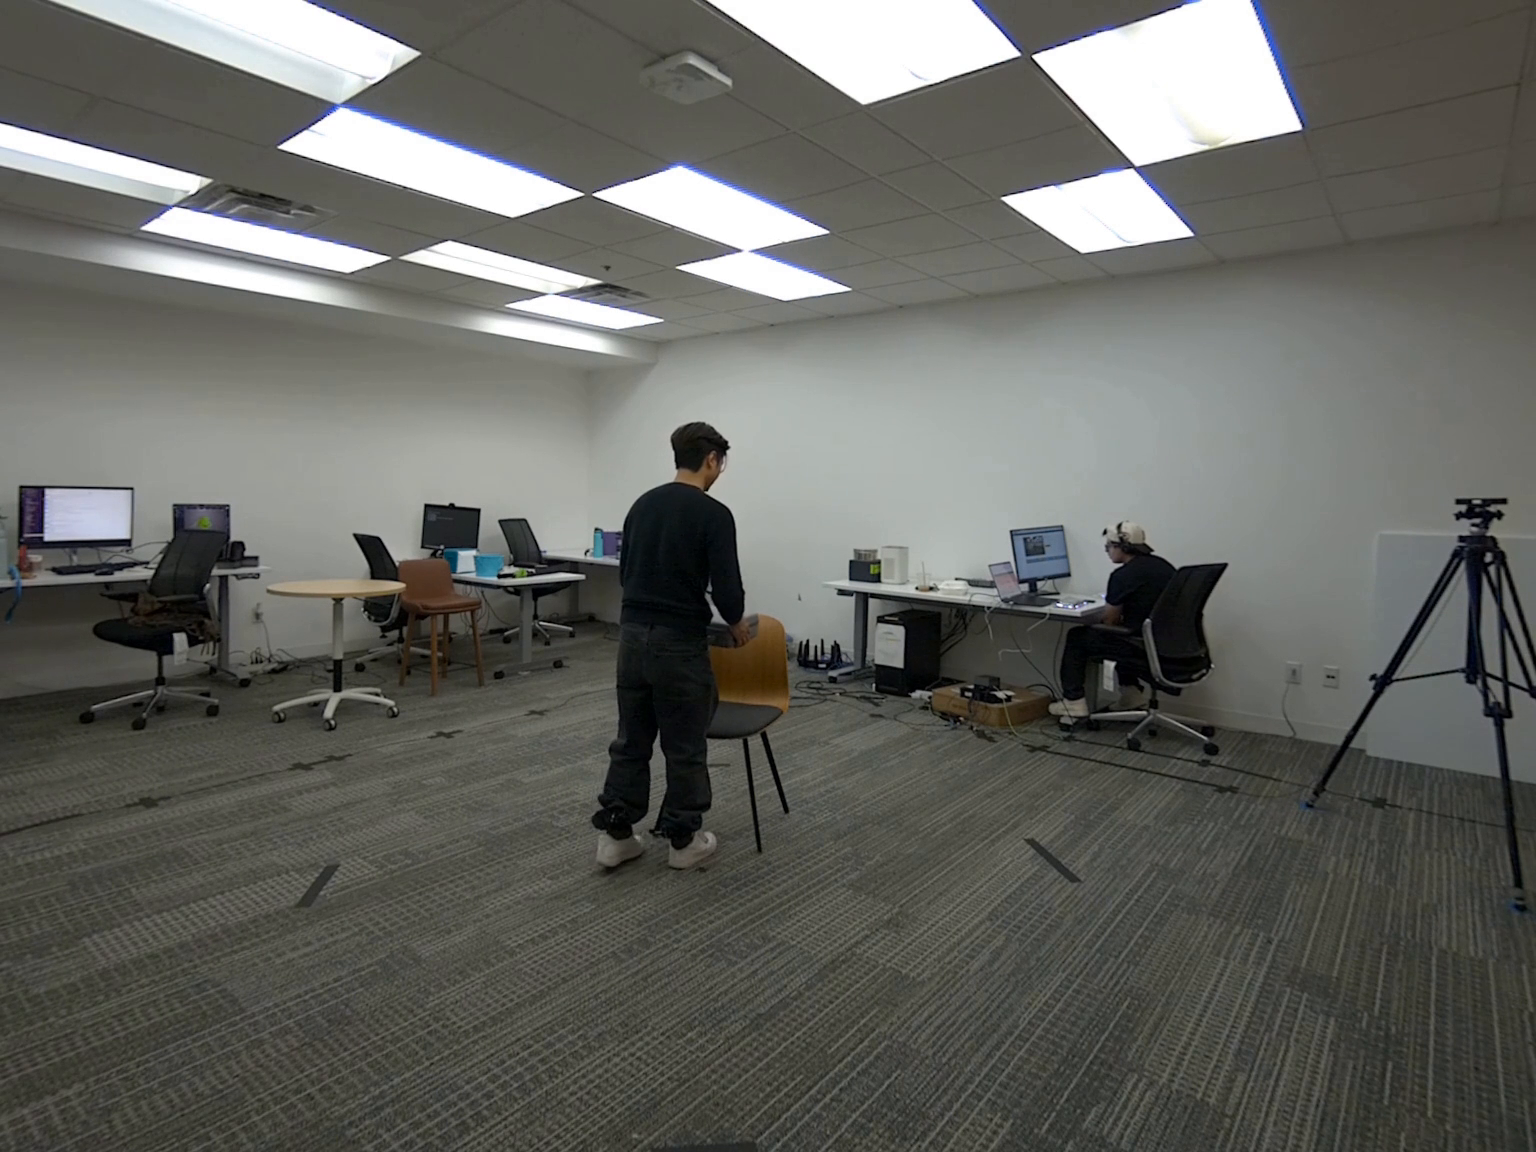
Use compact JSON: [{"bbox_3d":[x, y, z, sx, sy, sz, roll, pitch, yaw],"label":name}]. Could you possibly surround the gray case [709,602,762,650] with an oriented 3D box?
[{"bbox_3d":[-0.200,0.195,3.382,0.264,0.103,0.255,5,11,27],"label":"gray case"}]
